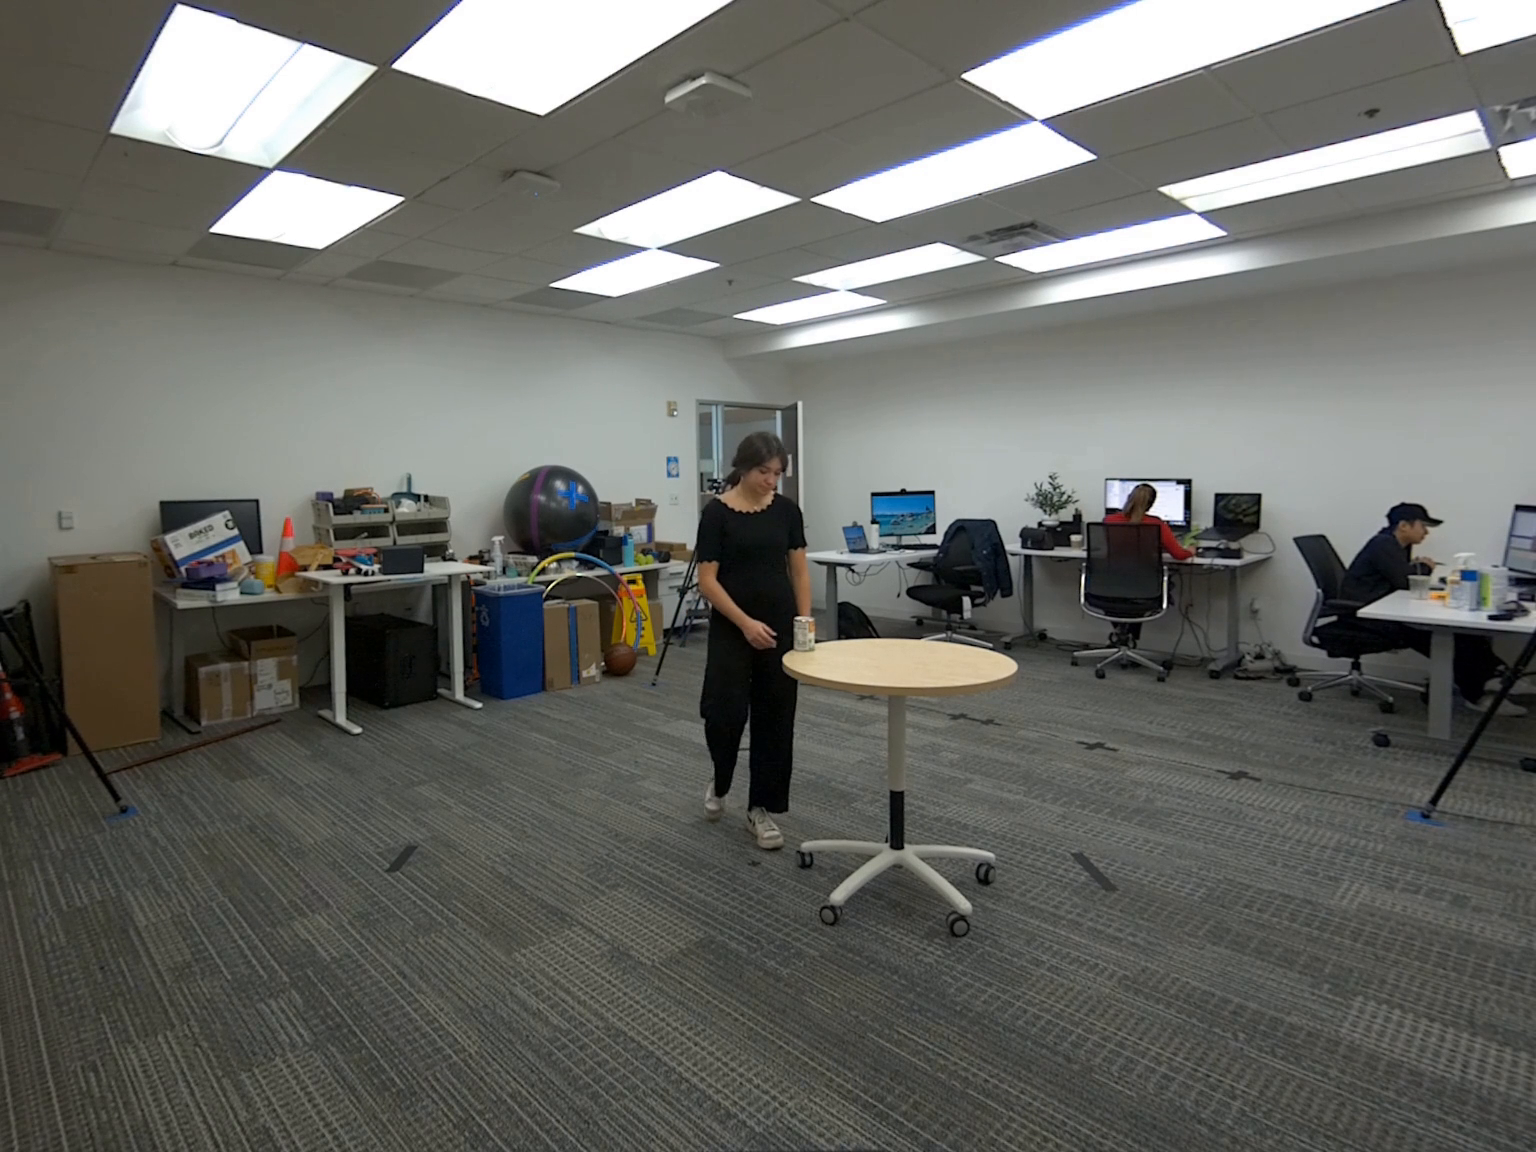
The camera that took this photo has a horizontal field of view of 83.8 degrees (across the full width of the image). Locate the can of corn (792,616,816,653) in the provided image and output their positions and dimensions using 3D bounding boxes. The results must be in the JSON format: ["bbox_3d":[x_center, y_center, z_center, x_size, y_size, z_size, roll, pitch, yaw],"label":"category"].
[{"bbox_3d":[0.130,0.210,3.044,0.074,0.111,0.074,-2,3,-2],"label":"can of corn"}]
